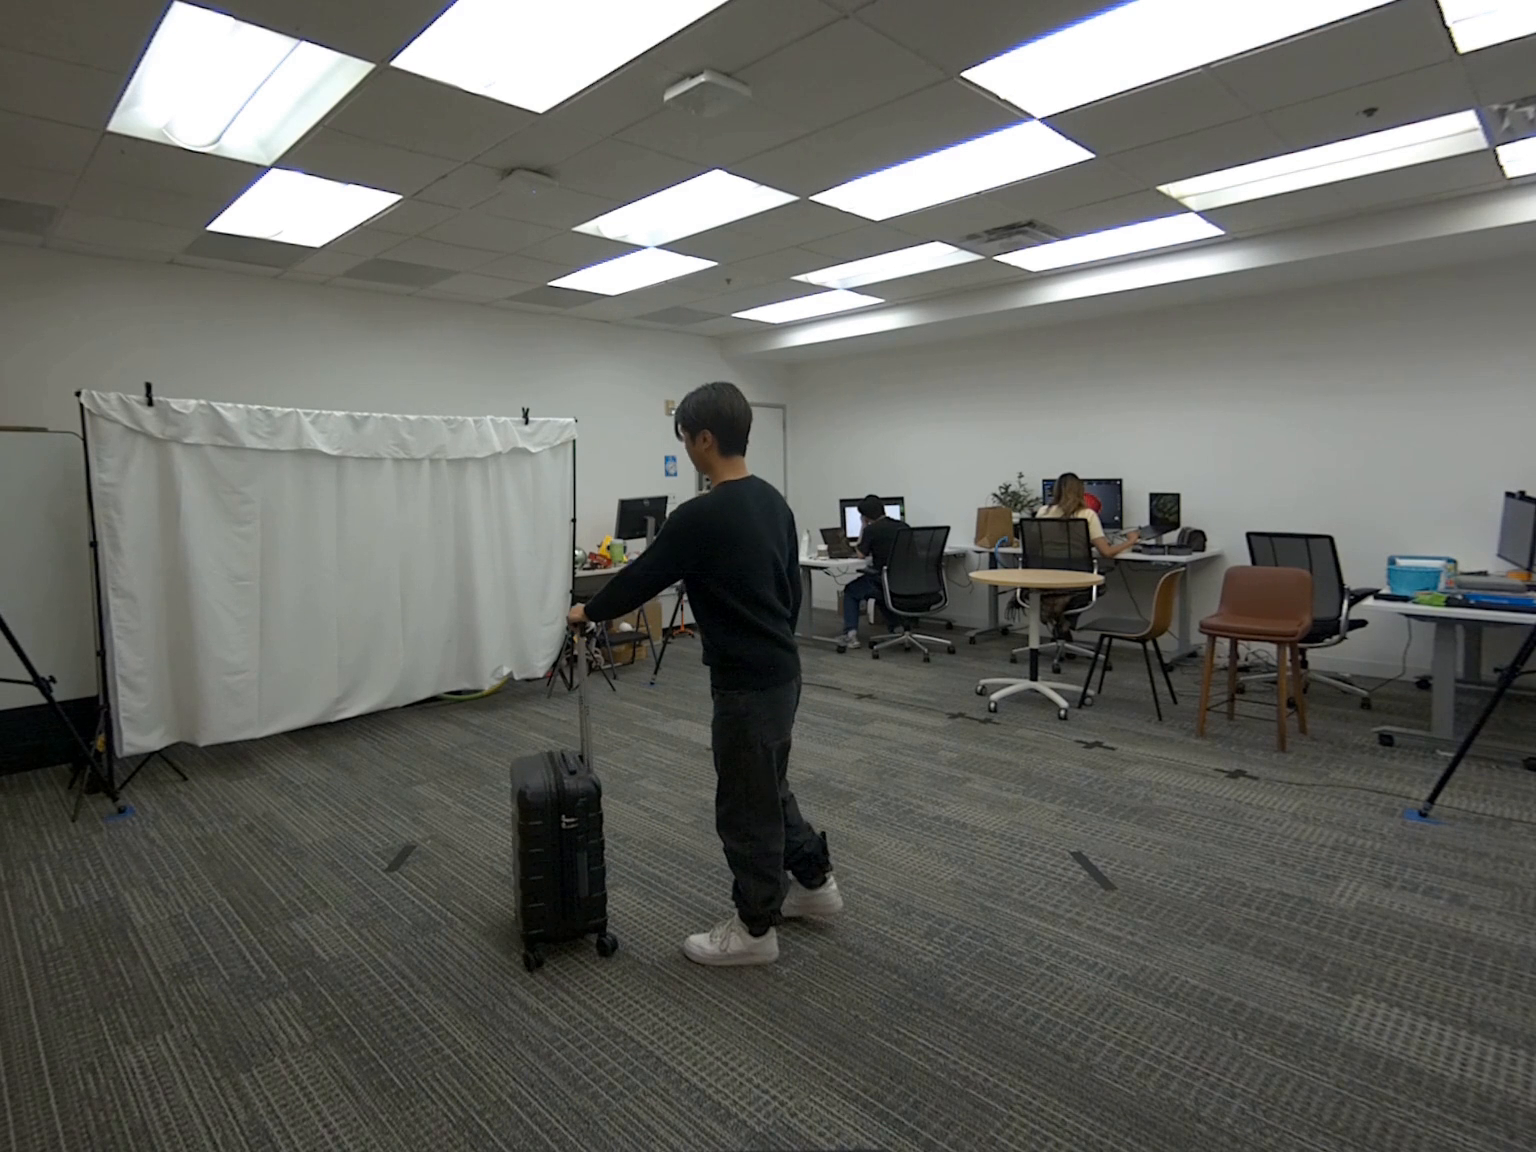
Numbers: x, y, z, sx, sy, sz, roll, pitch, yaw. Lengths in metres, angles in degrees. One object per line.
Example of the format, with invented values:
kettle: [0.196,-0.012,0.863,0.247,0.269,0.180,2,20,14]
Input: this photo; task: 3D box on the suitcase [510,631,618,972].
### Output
suitcase: [-0.655,0.632,2.613,0.253,0.975,0.391,-5,4,-18]
